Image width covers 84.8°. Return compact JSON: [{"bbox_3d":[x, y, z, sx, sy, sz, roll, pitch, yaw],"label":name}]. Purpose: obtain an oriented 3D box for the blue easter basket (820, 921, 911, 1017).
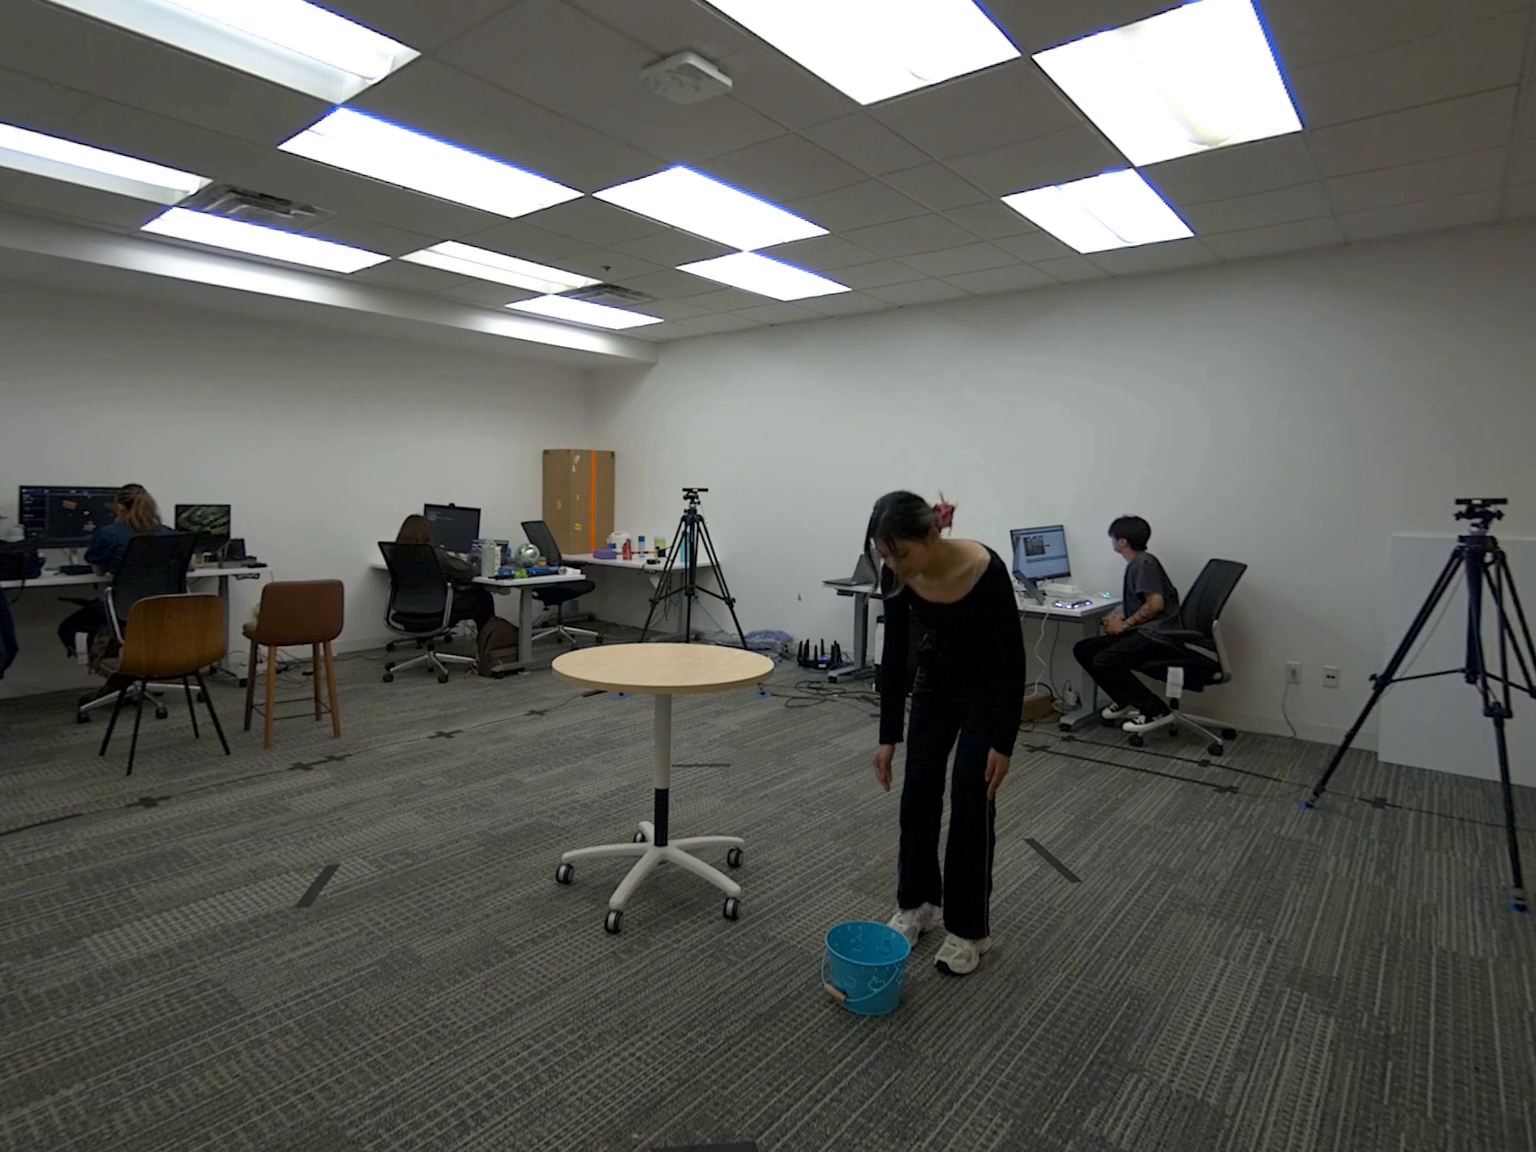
[{"bbox_3d":[0.264,1.076,2.351,0.243,0.155,0.244,1,4,-2],"label":"blue easter basket"}]
